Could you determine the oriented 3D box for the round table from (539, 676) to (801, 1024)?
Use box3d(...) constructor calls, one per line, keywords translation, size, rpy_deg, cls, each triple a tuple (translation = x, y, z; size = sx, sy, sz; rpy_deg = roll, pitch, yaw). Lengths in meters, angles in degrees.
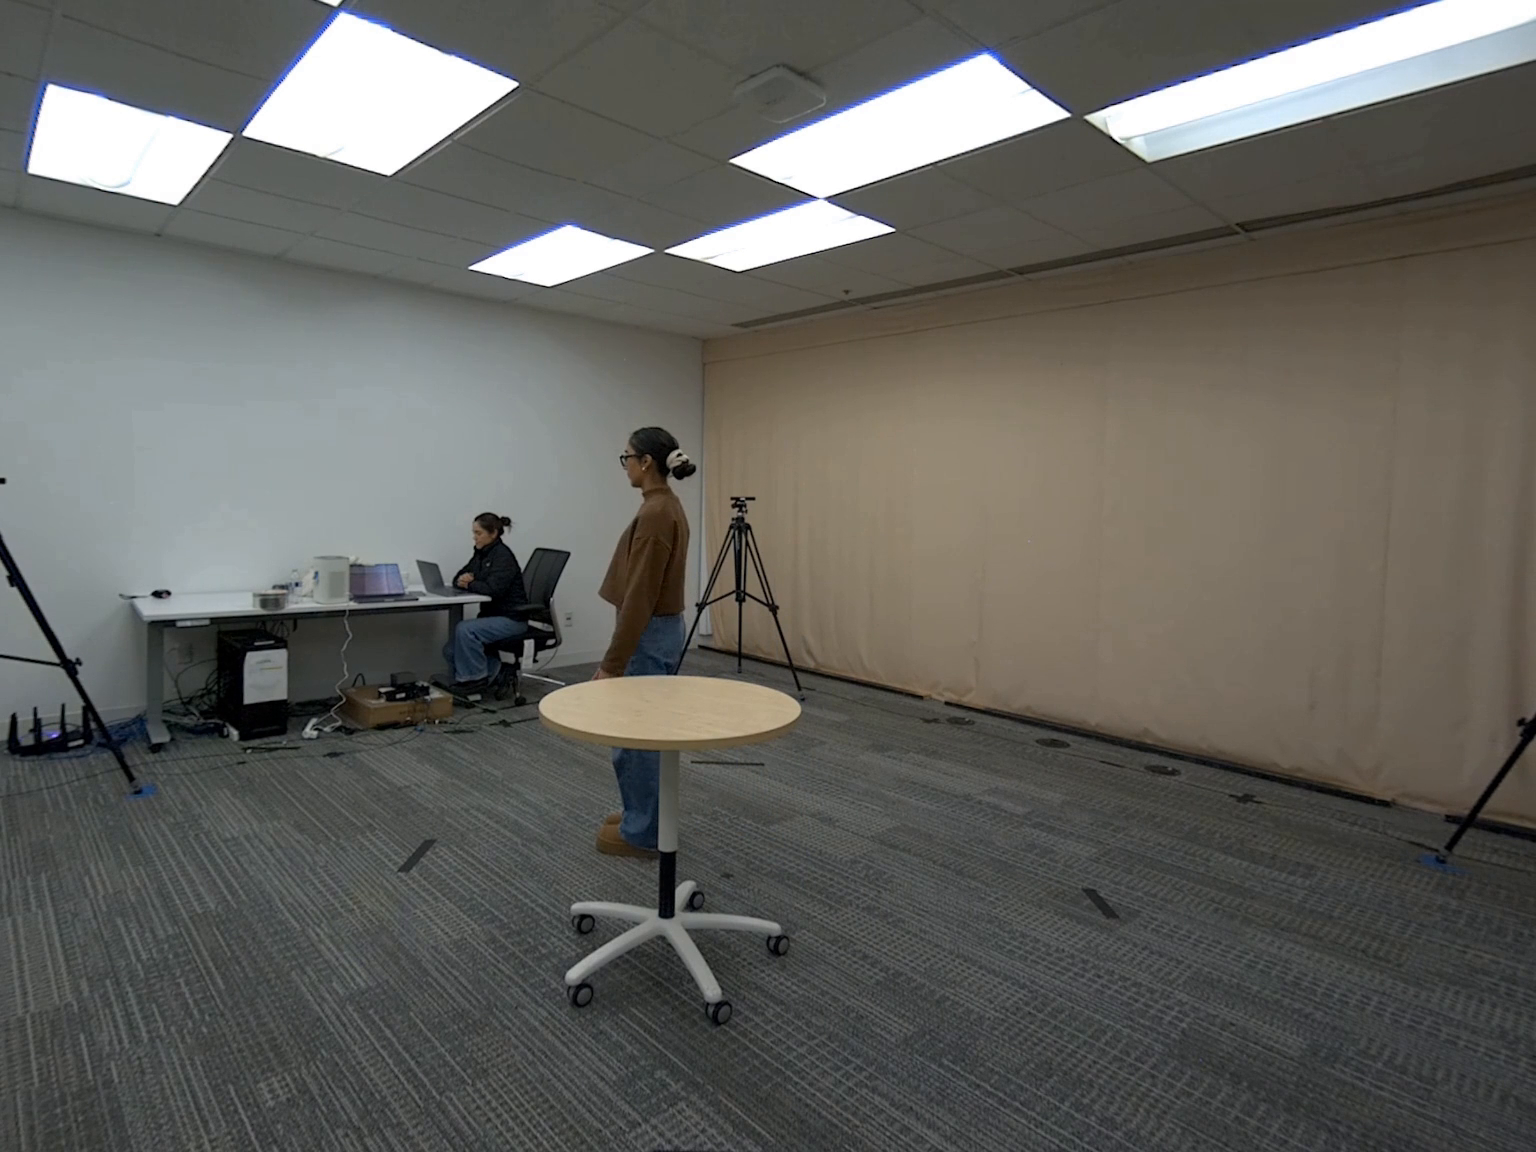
box3d(translation=(-0.295, 0.770, 2.488), size=(0.784, 0.784, 0.788), rpy_deg=(1, 4, -1), cls="round table")
